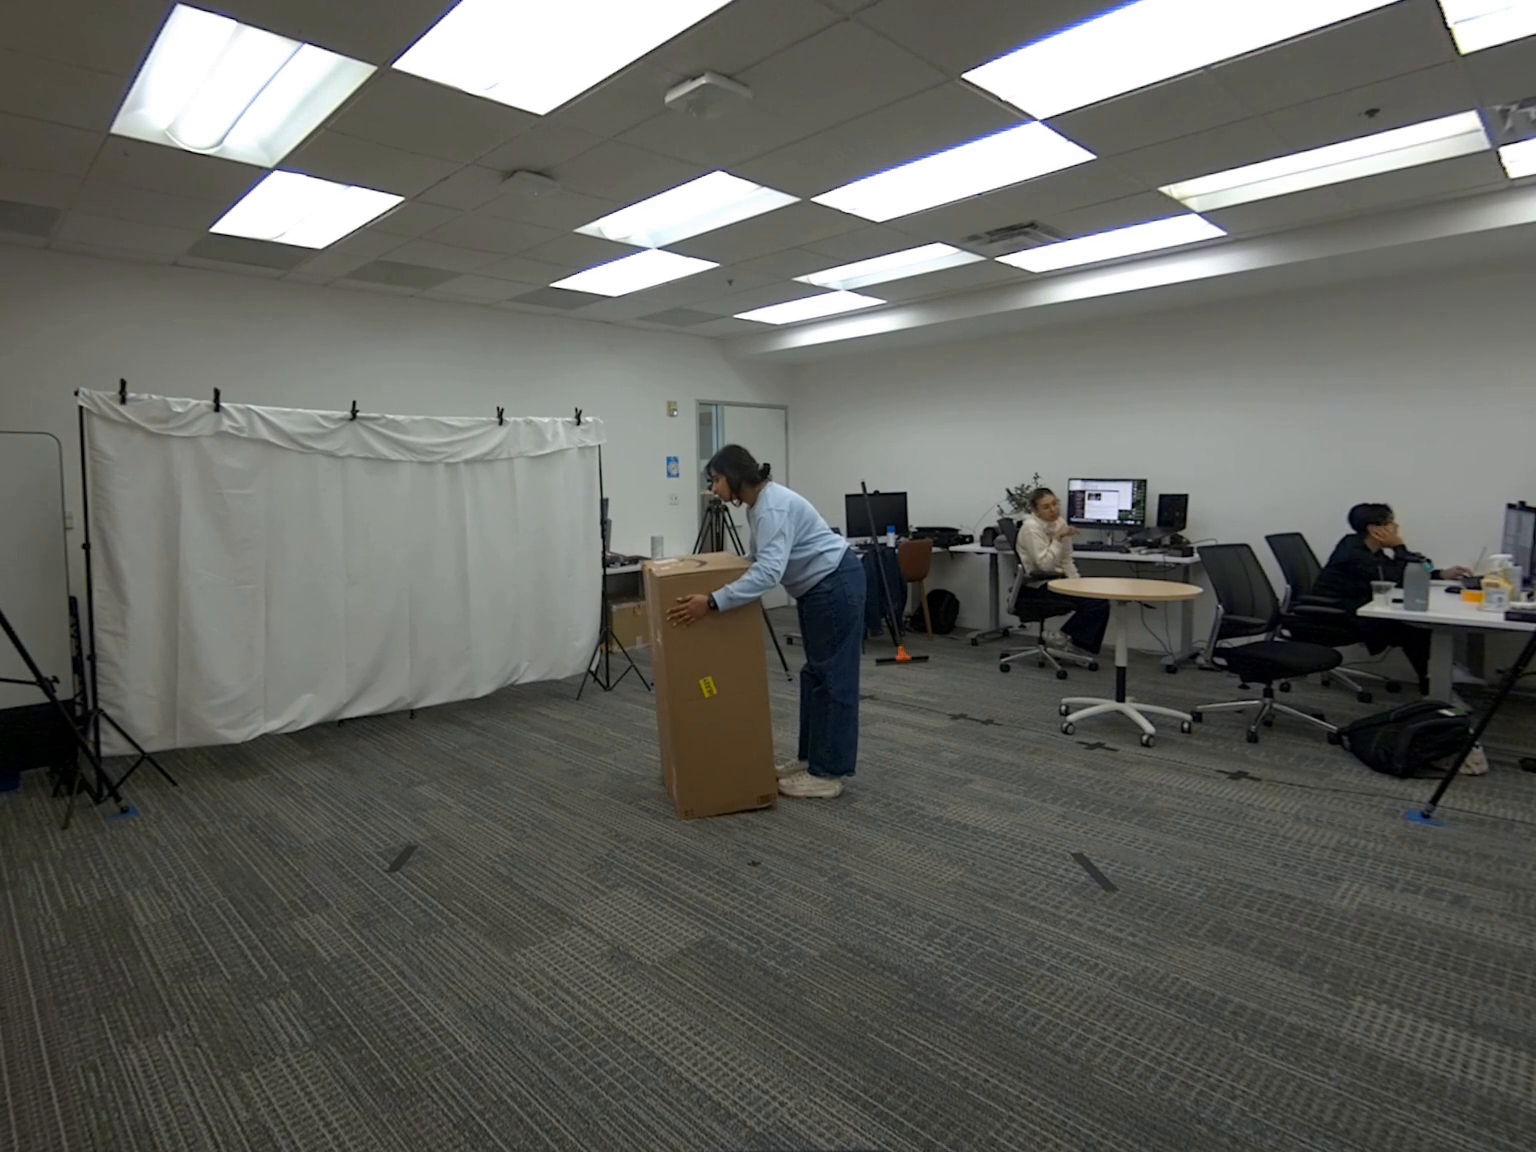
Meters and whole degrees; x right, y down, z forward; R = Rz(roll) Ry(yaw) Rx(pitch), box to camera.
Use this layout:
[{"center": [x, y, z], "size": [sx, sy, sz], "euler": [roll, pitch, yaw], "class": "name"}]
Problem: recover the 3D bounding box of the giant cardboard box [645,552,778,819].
[{"center": [-0.275, 0.446, 3.785], "size": [0.421, 1.020, 0.587], "euler": [-6, 6, -13], "class": "giant cardboard box"}]
